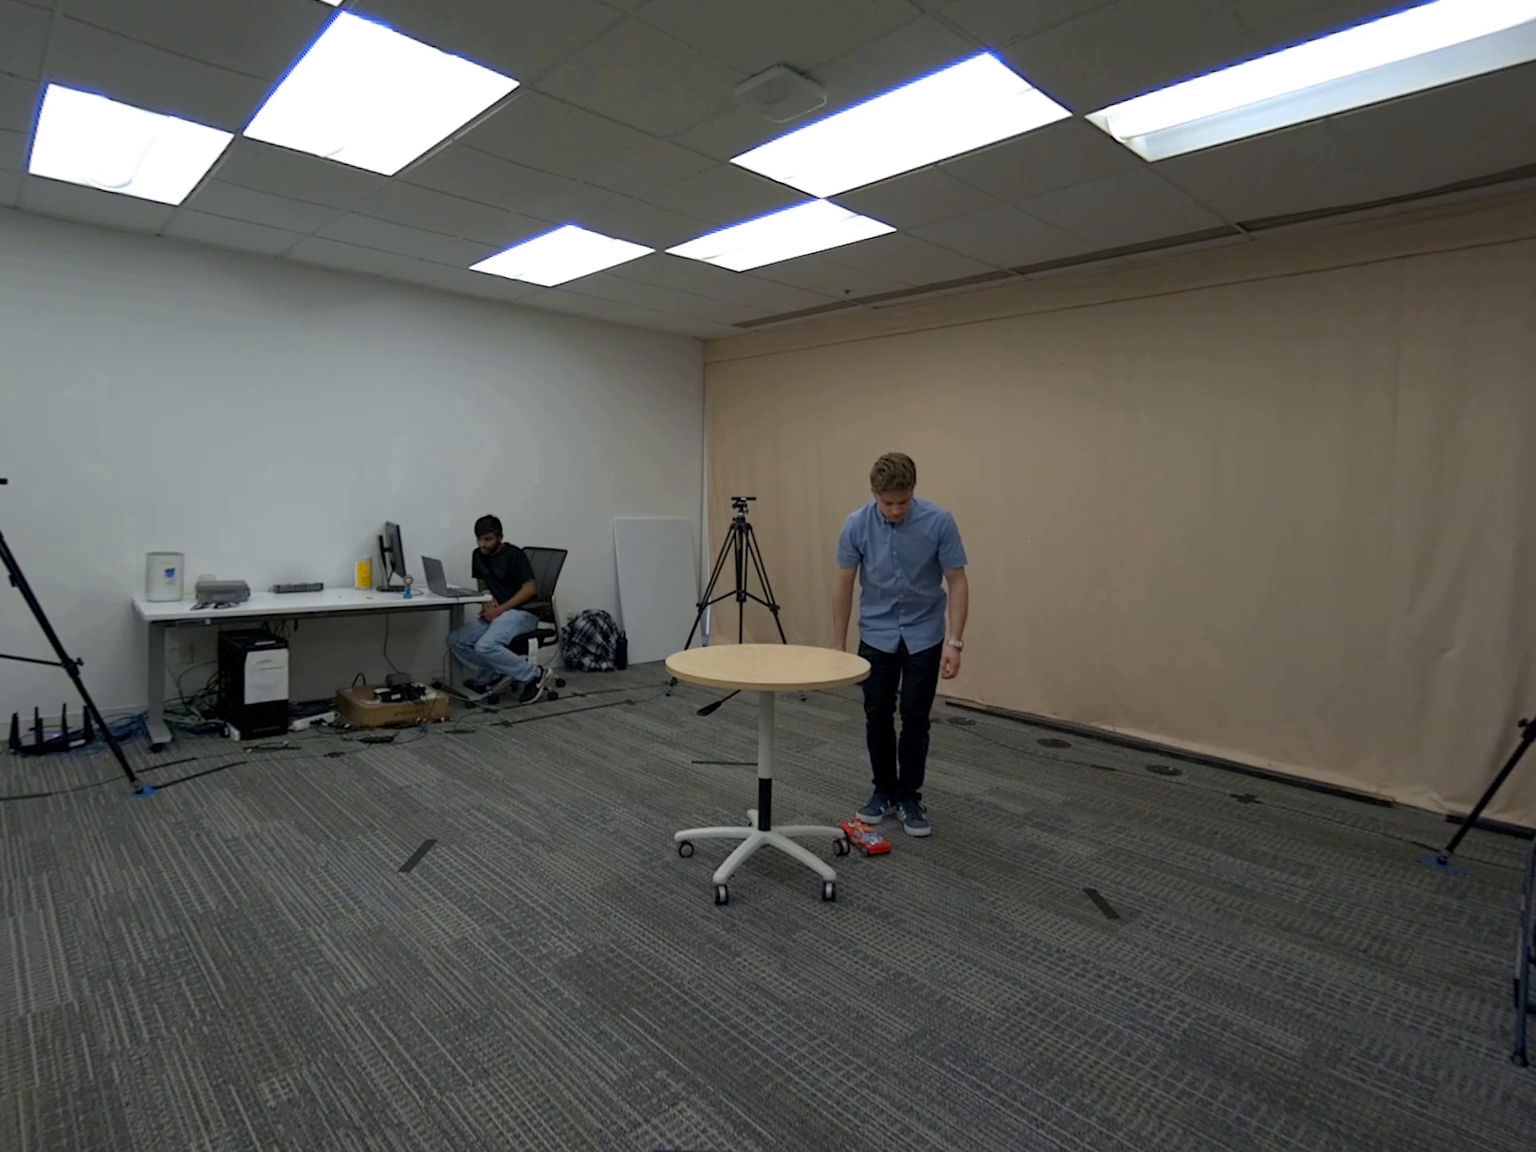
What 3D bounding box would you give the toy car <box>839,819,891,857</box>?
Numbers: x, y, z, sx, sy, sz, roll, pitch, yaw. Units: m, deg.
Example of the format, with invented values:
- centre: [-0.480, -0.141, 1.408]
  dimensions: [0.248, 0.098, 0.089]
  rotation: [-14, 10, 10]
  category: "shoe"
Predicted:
- centre: [0.381, 1.063, 3.418]
  dimensions: [0.128, 0.082, 0.261]
  rotation: [0, 16, -25]
  category: "toy car"
